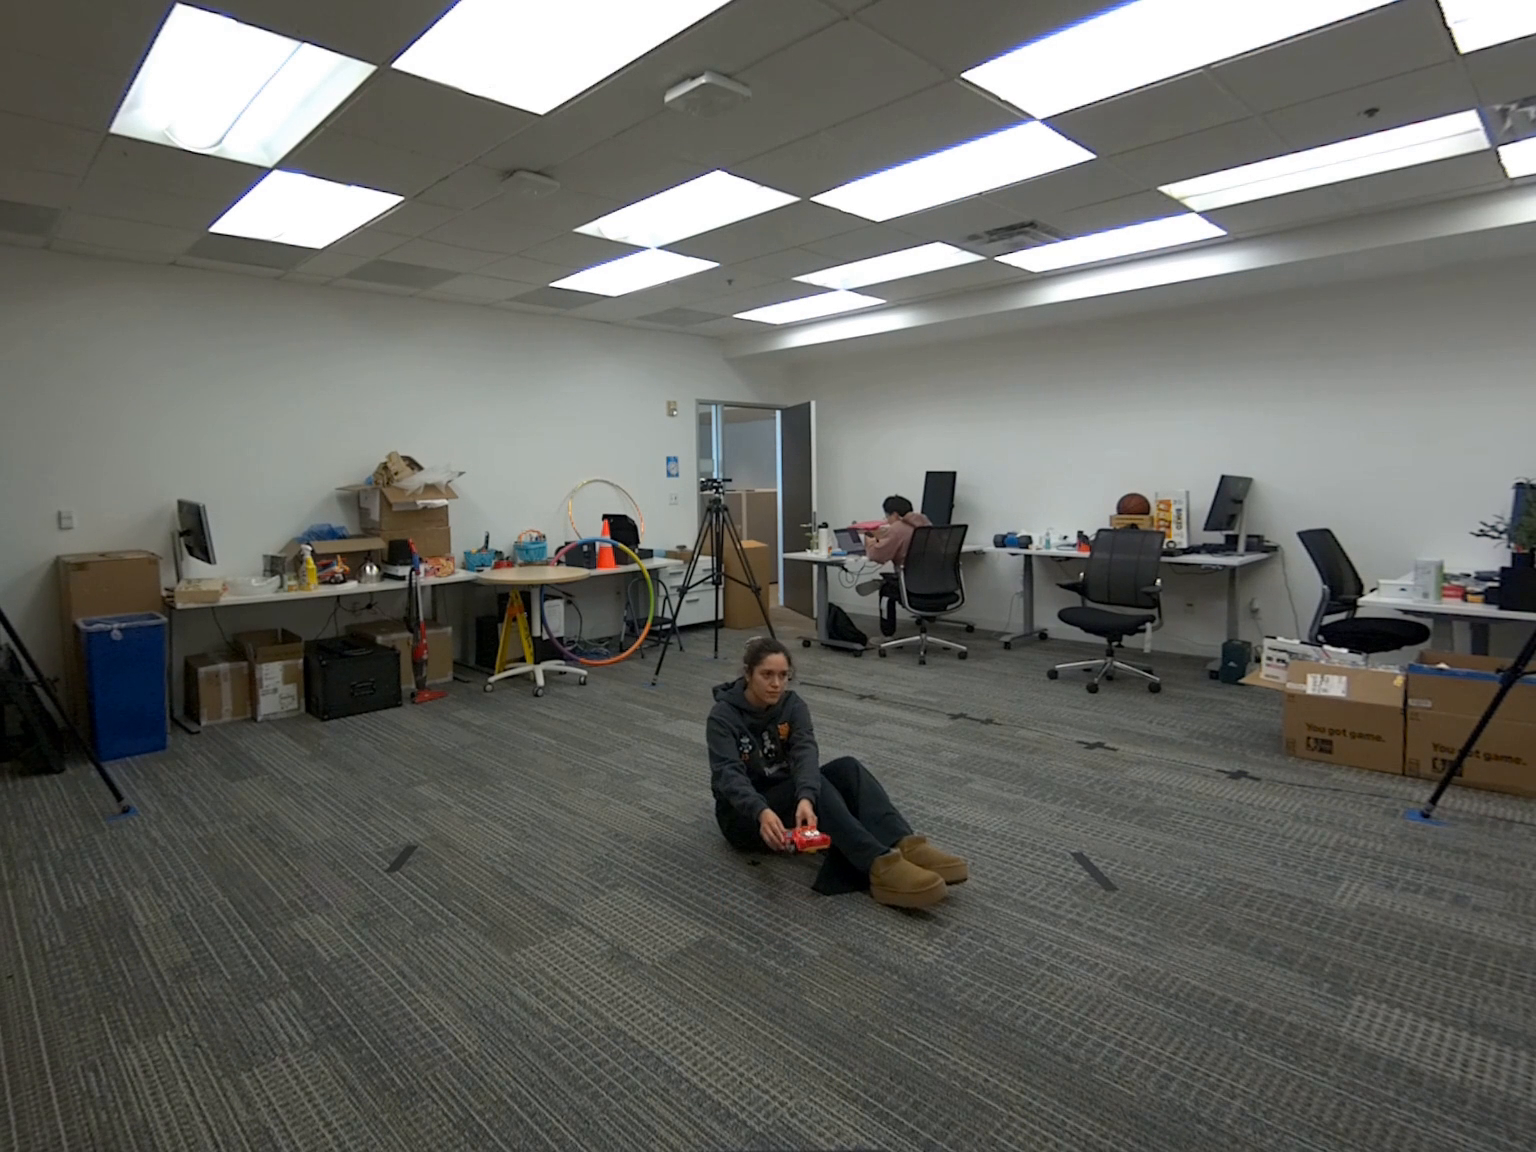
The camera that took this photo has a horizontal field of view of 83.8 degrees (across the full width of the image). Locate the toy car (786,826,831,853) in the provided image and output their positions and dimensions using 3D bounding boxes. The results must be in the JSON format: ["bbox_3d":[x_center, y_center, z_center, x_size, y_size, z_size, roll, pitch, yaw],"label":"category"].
[{"bbox_3d":[0.112,0.831,2.642,0.128,0.085,0.253,-3,-23,-19],"label":"toy car"}]
